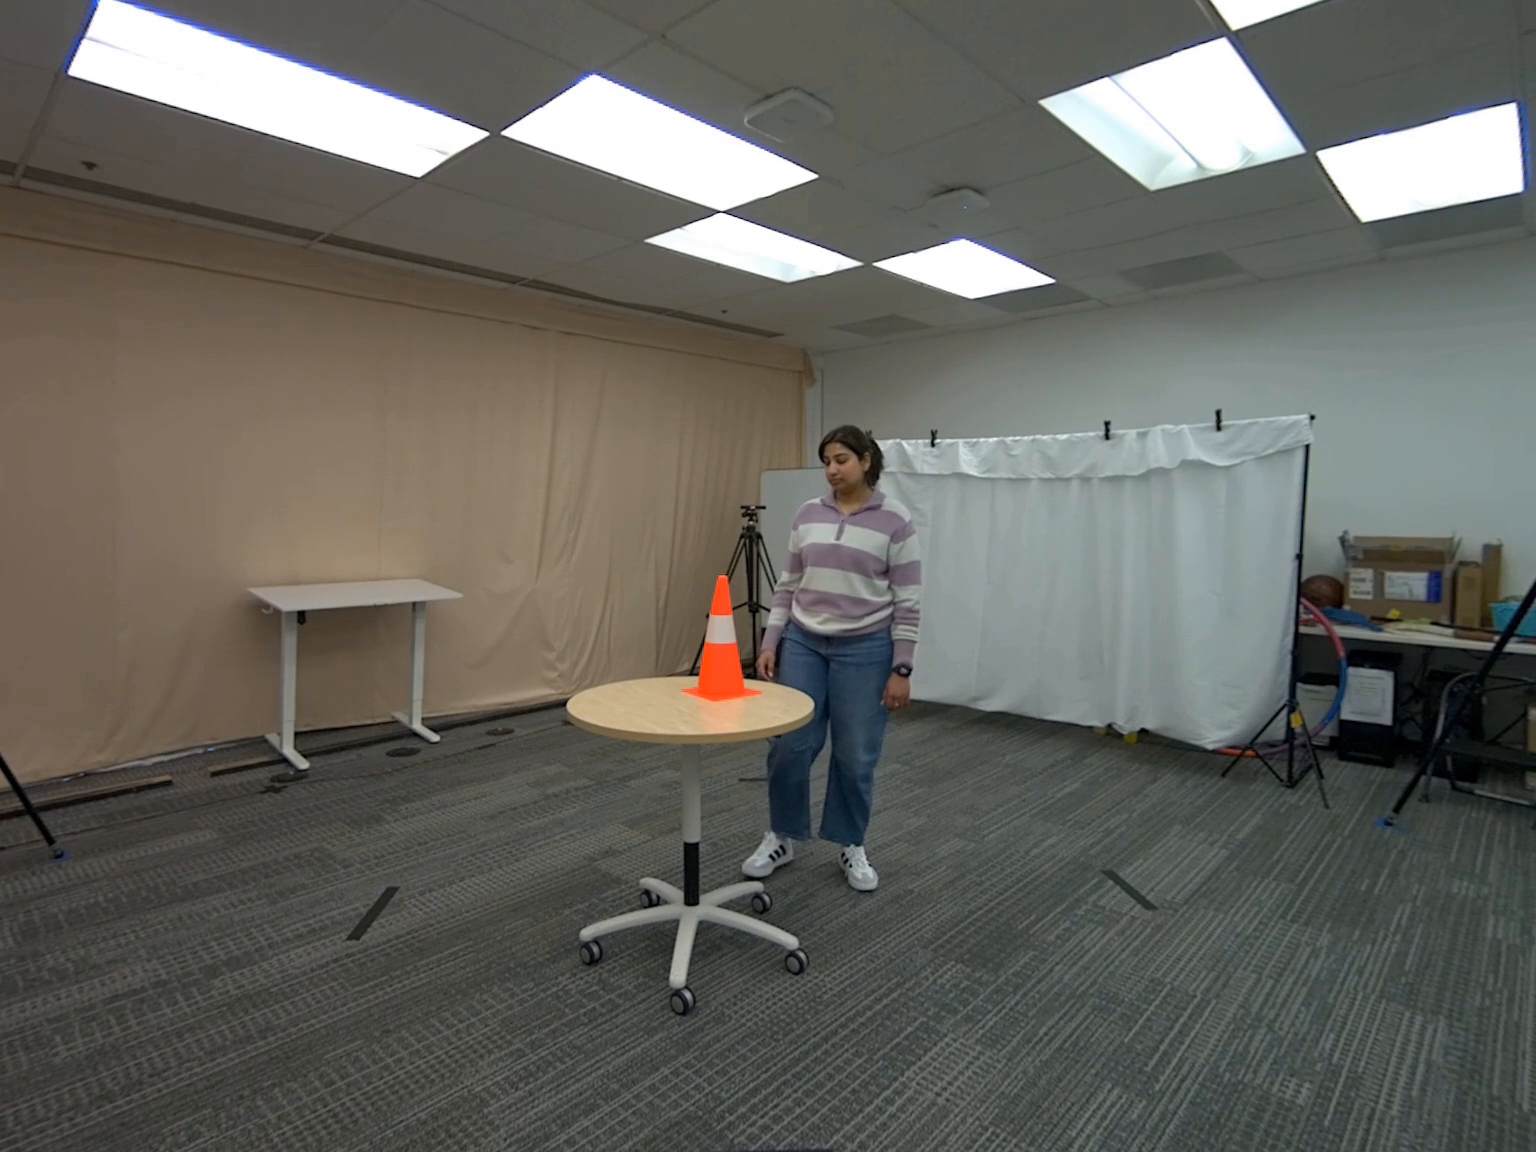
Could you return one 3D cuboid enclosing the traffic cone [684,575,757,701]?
[{"bbox_3d":[-0.154,0.195,2.741,0.209,0.383,0.199,1,4,31],"label":"traffic cone"}]
